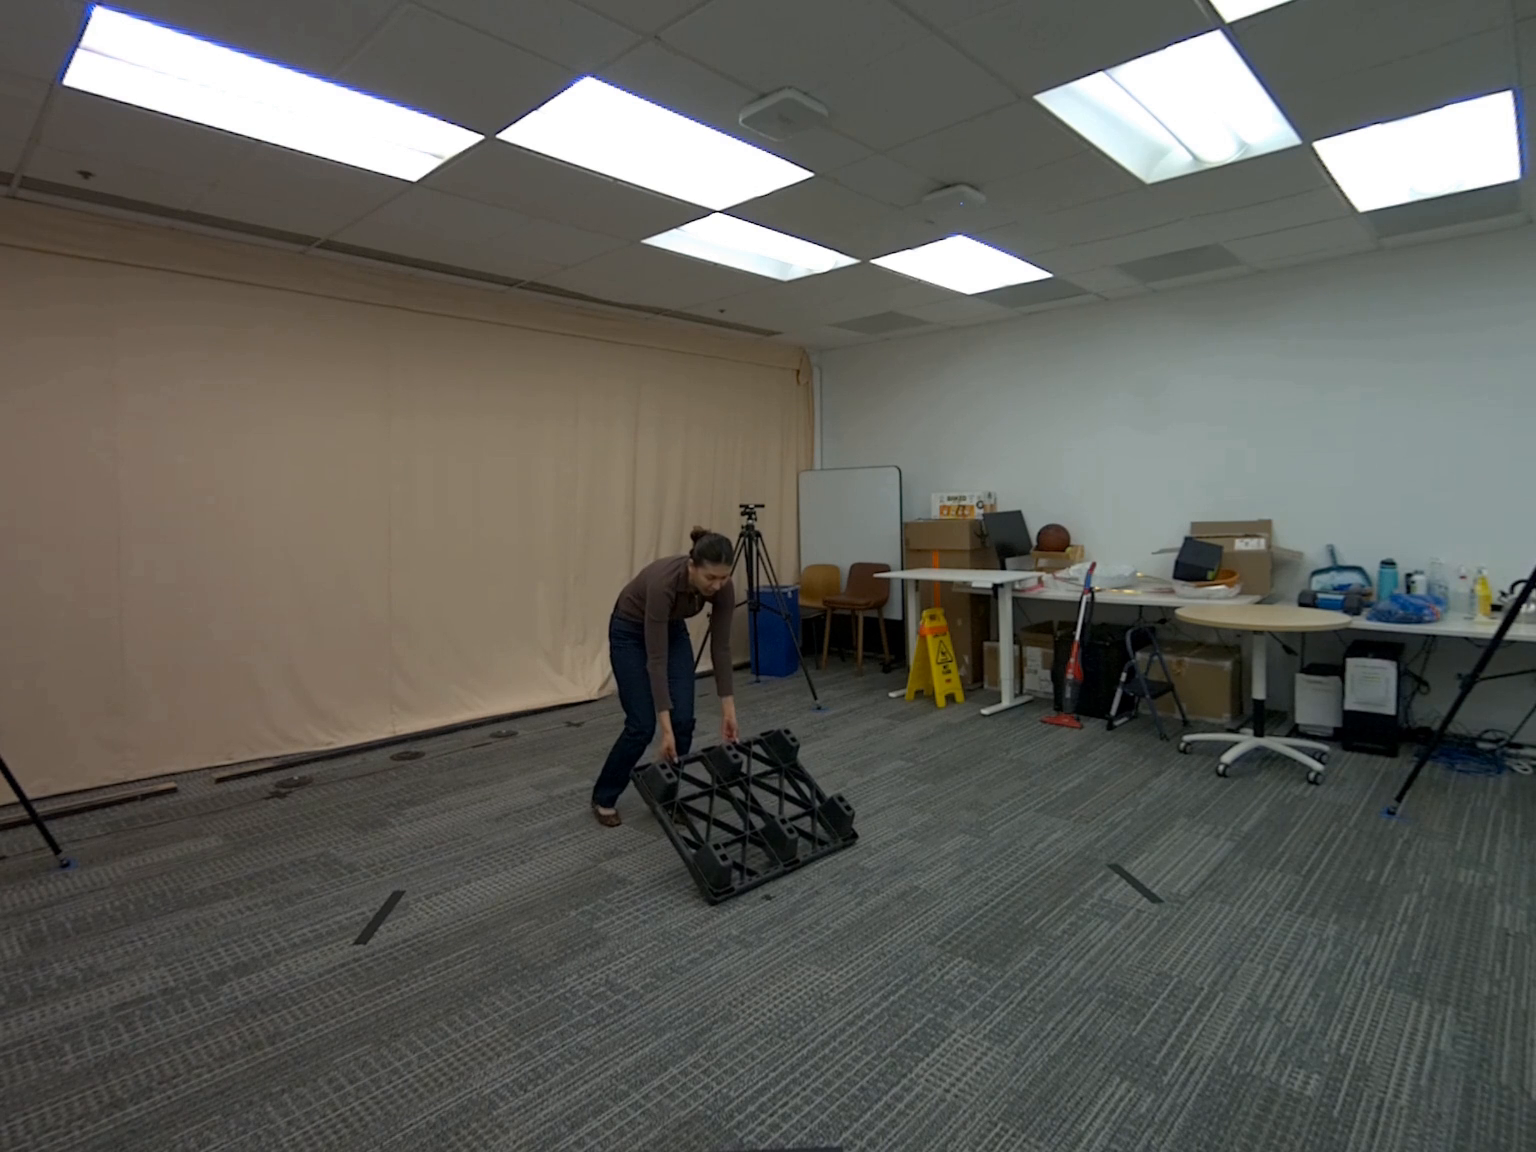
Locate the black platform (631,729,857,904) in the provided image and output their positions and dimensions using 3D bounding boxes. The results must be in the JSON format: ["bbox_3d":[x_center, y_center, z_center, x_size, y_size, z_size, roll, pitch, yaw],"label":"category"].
[{"bbox_3d":[-0.063,0.885,3.315,0.781,0.143,0.625,-6,42,-43],"label":"black platform"}]
